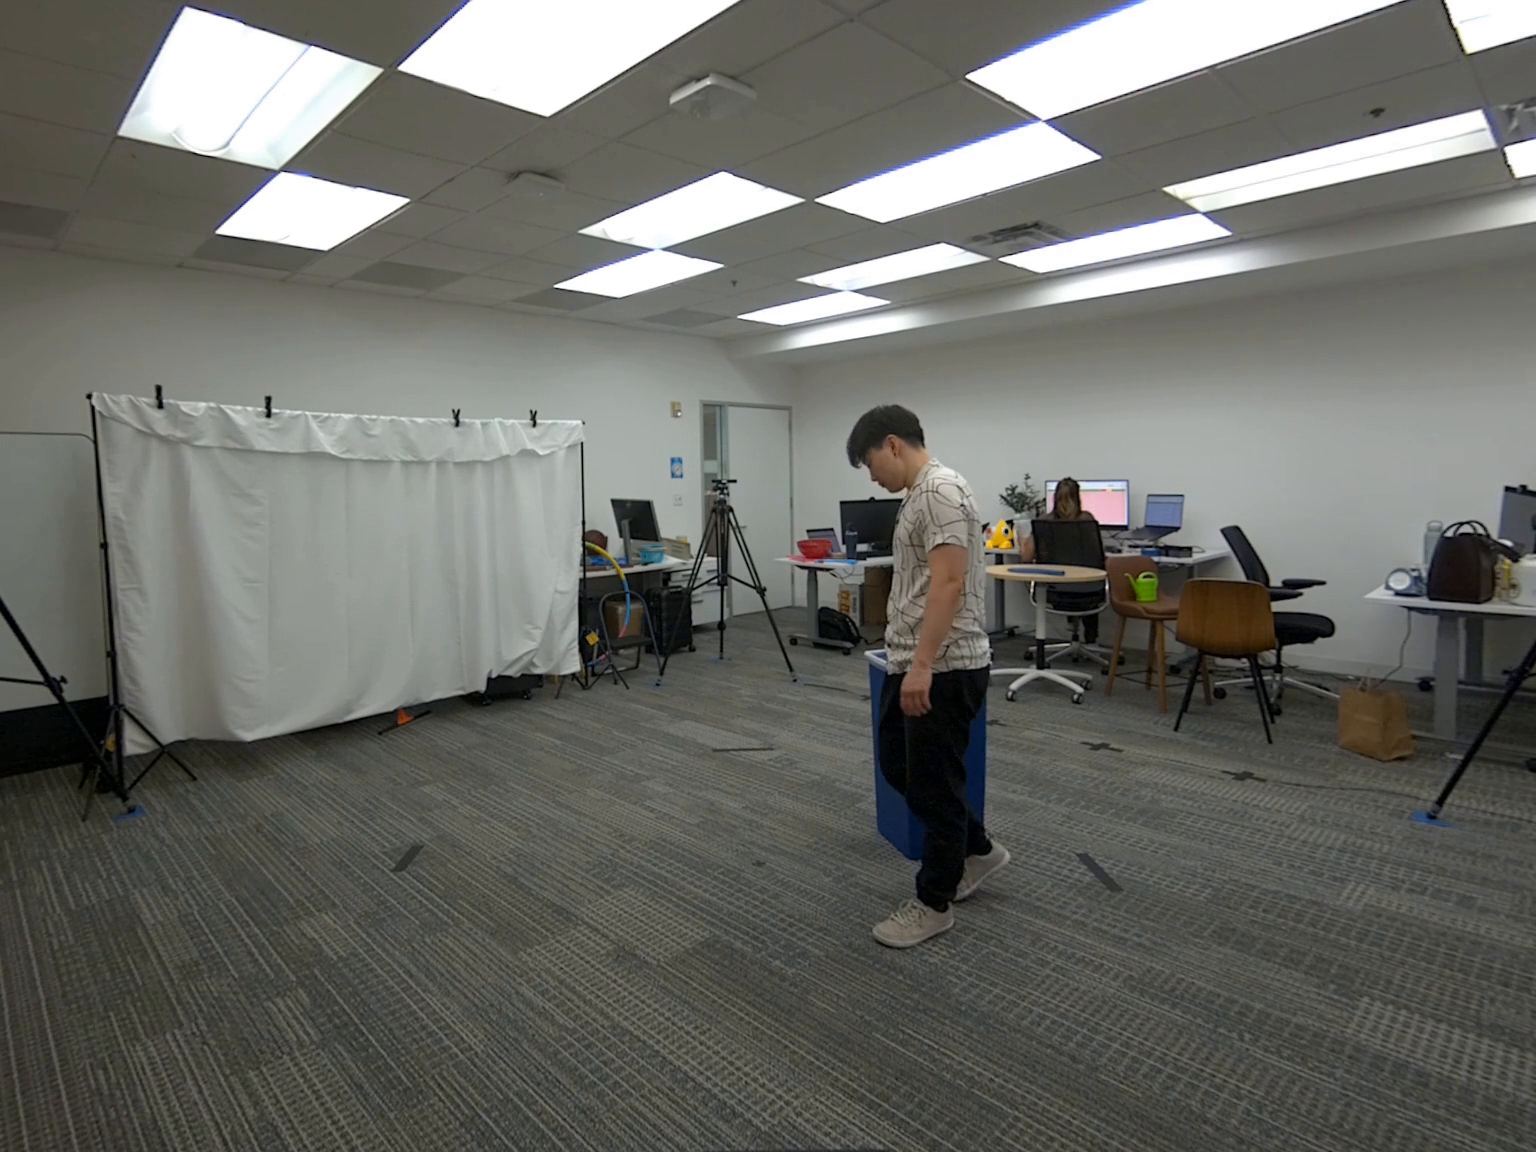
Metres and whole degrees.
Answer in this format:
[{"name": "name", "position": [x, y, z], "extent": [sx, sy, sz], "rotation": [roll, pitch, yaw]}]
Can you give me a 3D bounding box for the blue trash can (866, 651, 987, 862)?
[{"name": "blue trash can", "position": [0.607, 0.661, 3.261], "extent": [0.369, 0.711, 0.384], "rotation": [-2, 4, -15]}]
